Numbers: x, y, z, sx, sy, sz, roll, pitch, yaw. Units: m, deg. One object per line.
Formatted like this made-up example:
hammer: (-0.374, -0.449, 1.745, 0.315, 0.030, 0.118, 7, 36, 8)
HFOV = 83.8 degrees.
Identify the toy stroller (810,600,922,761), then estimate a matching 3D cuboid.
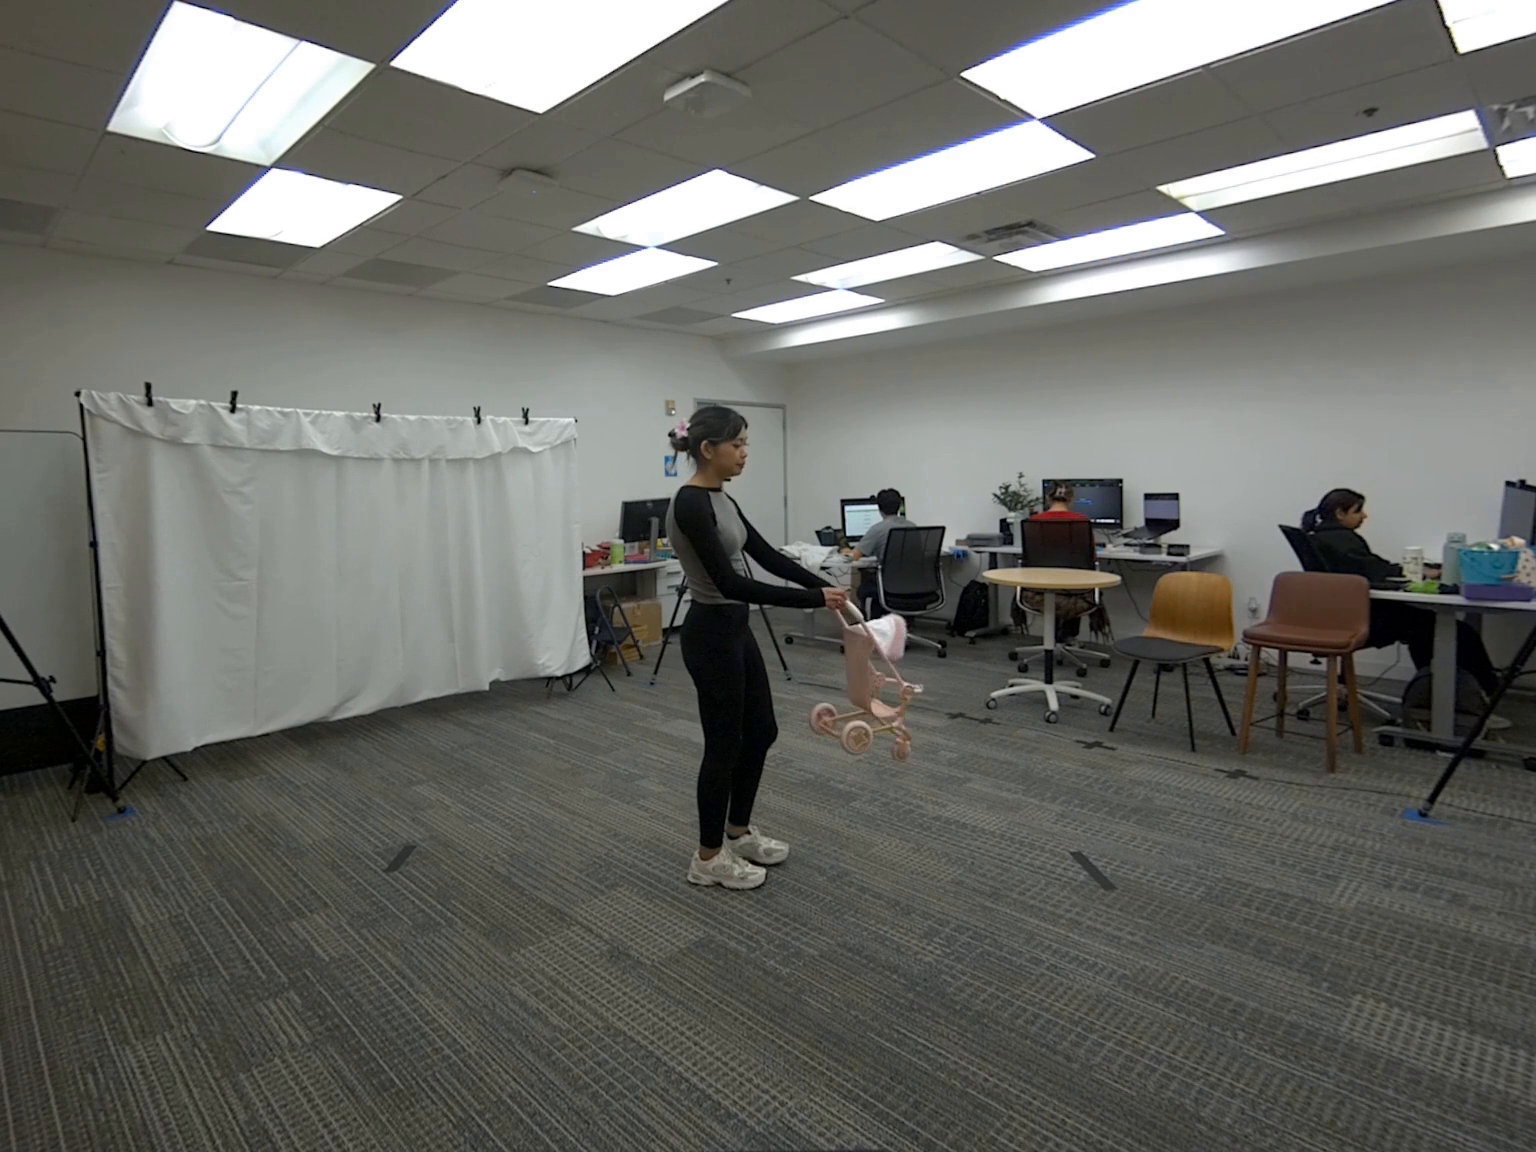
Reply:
toy stroller: (0.353, 0.362, 2.873, 0.336, 0.535, 0.286, 6, 0, -15)
